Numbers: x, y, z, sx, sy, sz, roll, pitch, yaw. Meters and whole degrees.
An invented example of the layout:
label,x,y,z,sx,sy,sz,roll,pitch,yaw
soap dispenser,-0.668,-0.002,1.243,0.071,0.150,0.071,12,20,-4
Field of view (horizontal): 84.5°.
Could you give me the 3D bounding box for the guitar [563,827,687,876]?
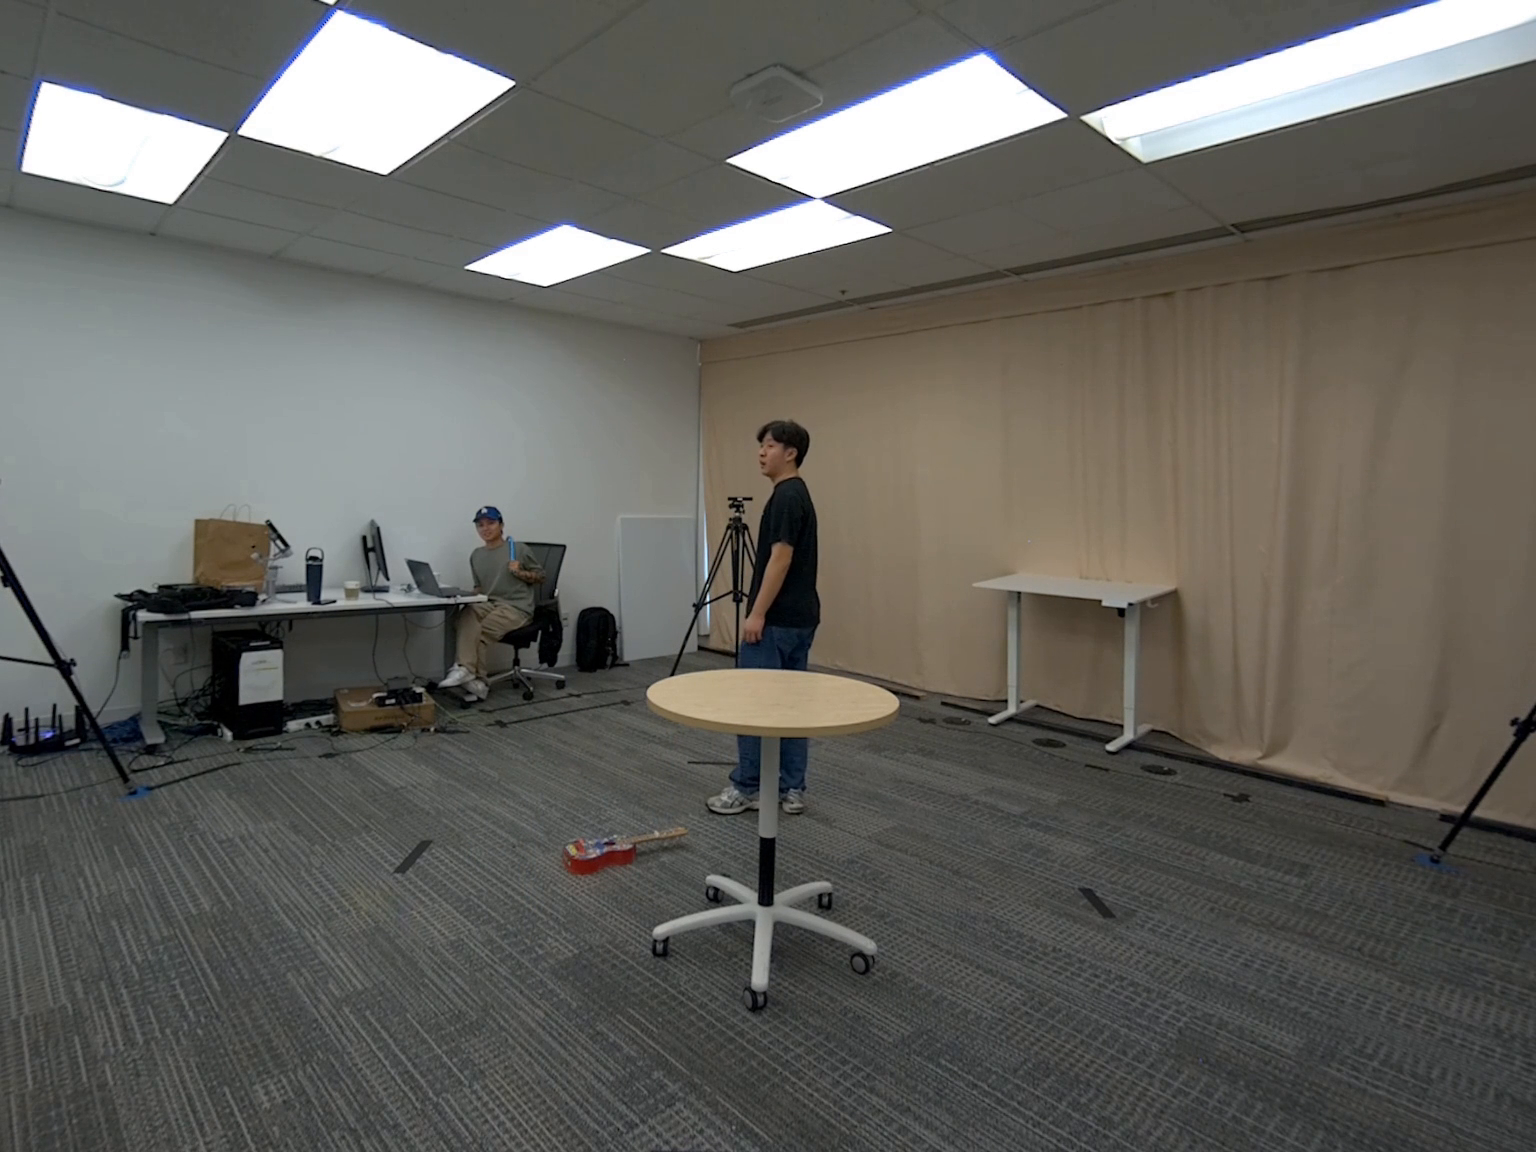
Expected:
label,x,y,z,sx,sy,sz,roll,pitch,yaw
guitar,-0.540,1.053,3.231,0.491,0.070,0.196,-1,5,-19
